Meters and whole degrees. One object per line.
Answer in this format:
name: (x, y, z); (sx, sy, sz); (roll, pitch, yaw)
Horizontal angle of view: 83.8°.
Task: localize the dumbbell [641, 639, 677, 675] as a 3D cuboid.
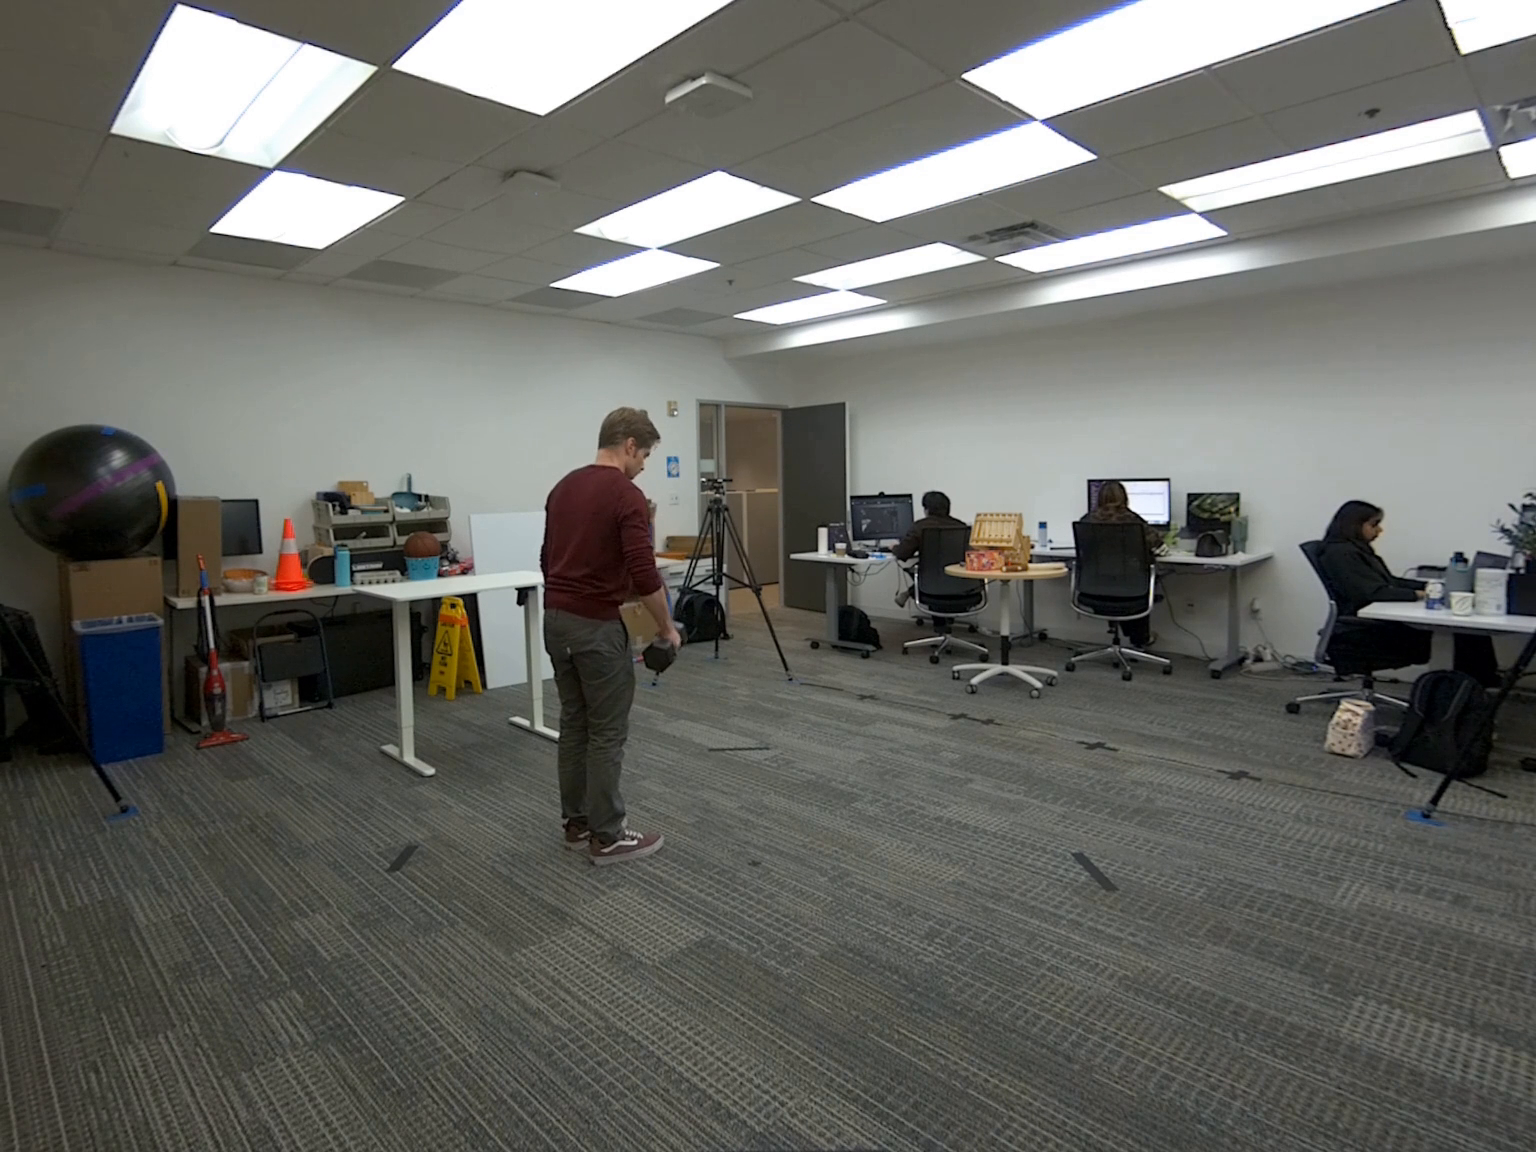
dumbbell: (-0.388, 0.249, 3.233); (0.109, 0.122, 0.295); (-14, 11, 8)
